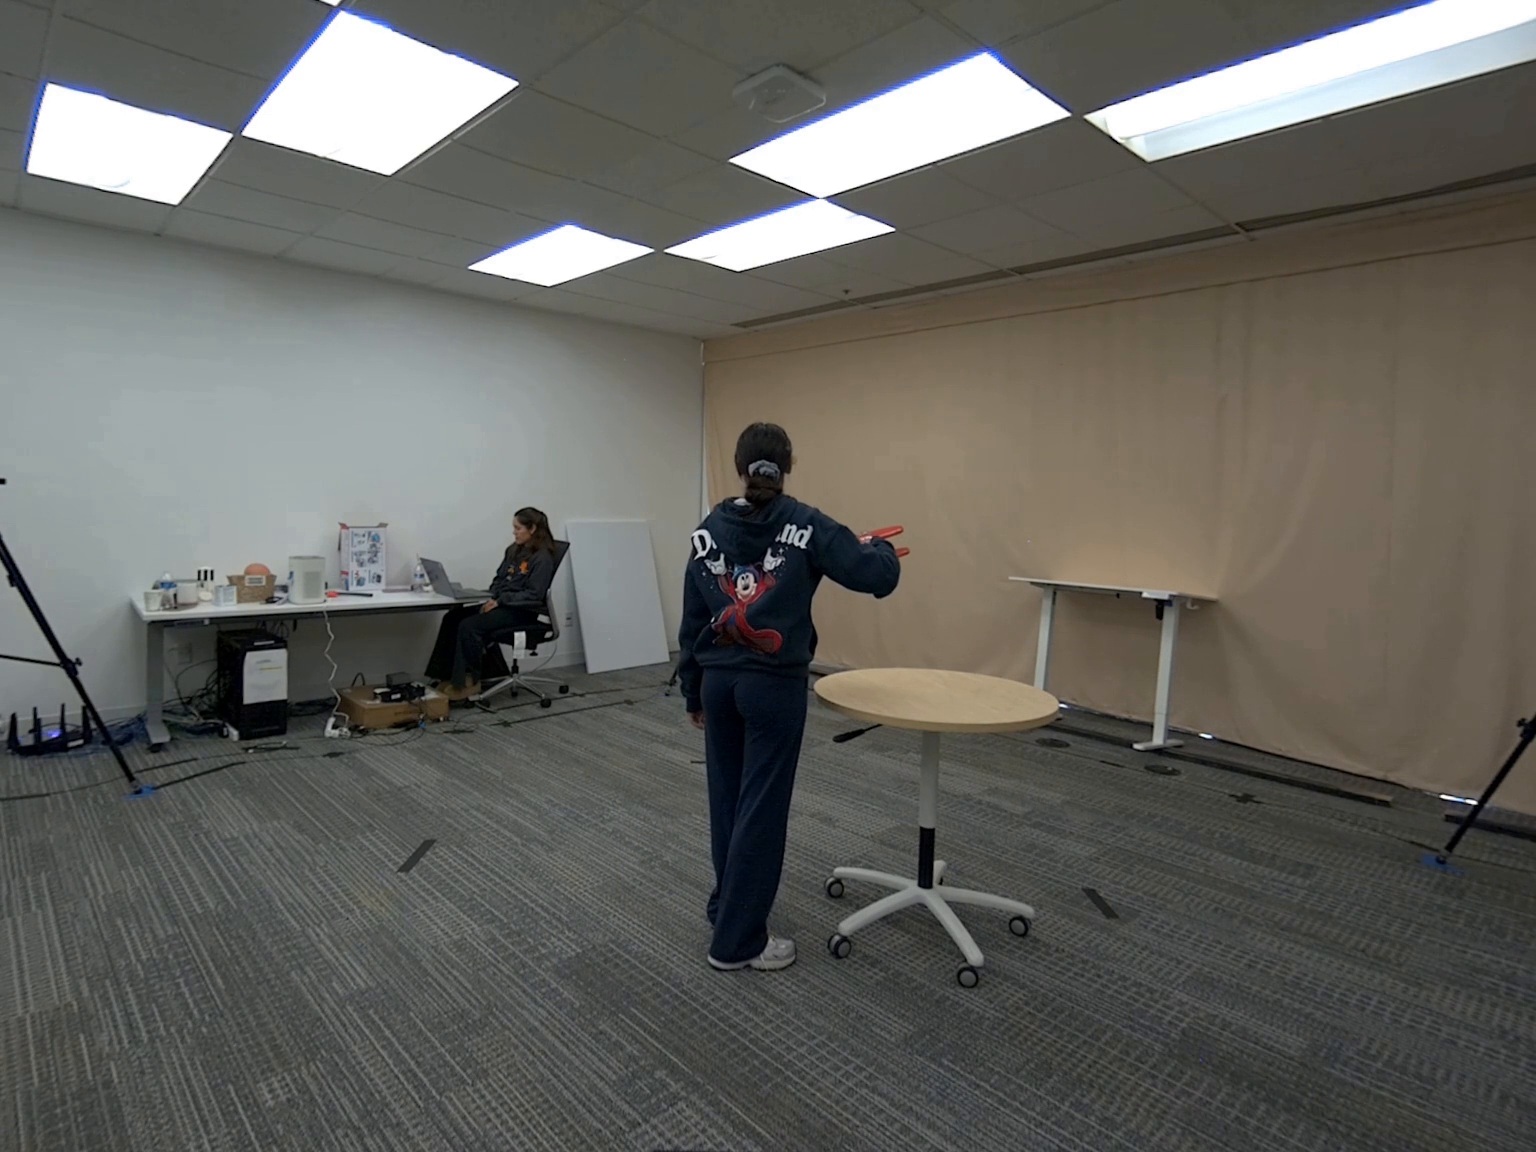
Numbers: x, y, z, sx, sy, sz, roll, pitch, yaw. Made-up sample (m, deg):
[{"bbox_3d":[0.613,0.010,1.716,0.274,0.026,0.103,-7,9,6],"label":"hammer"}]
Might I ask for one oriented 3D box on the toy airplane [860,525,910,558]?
[{"bbox_3d":[0.356,-0.069,2.758,0.248,0.157,0.260,-15,-4,-18],"label":"toy airplane"}]
